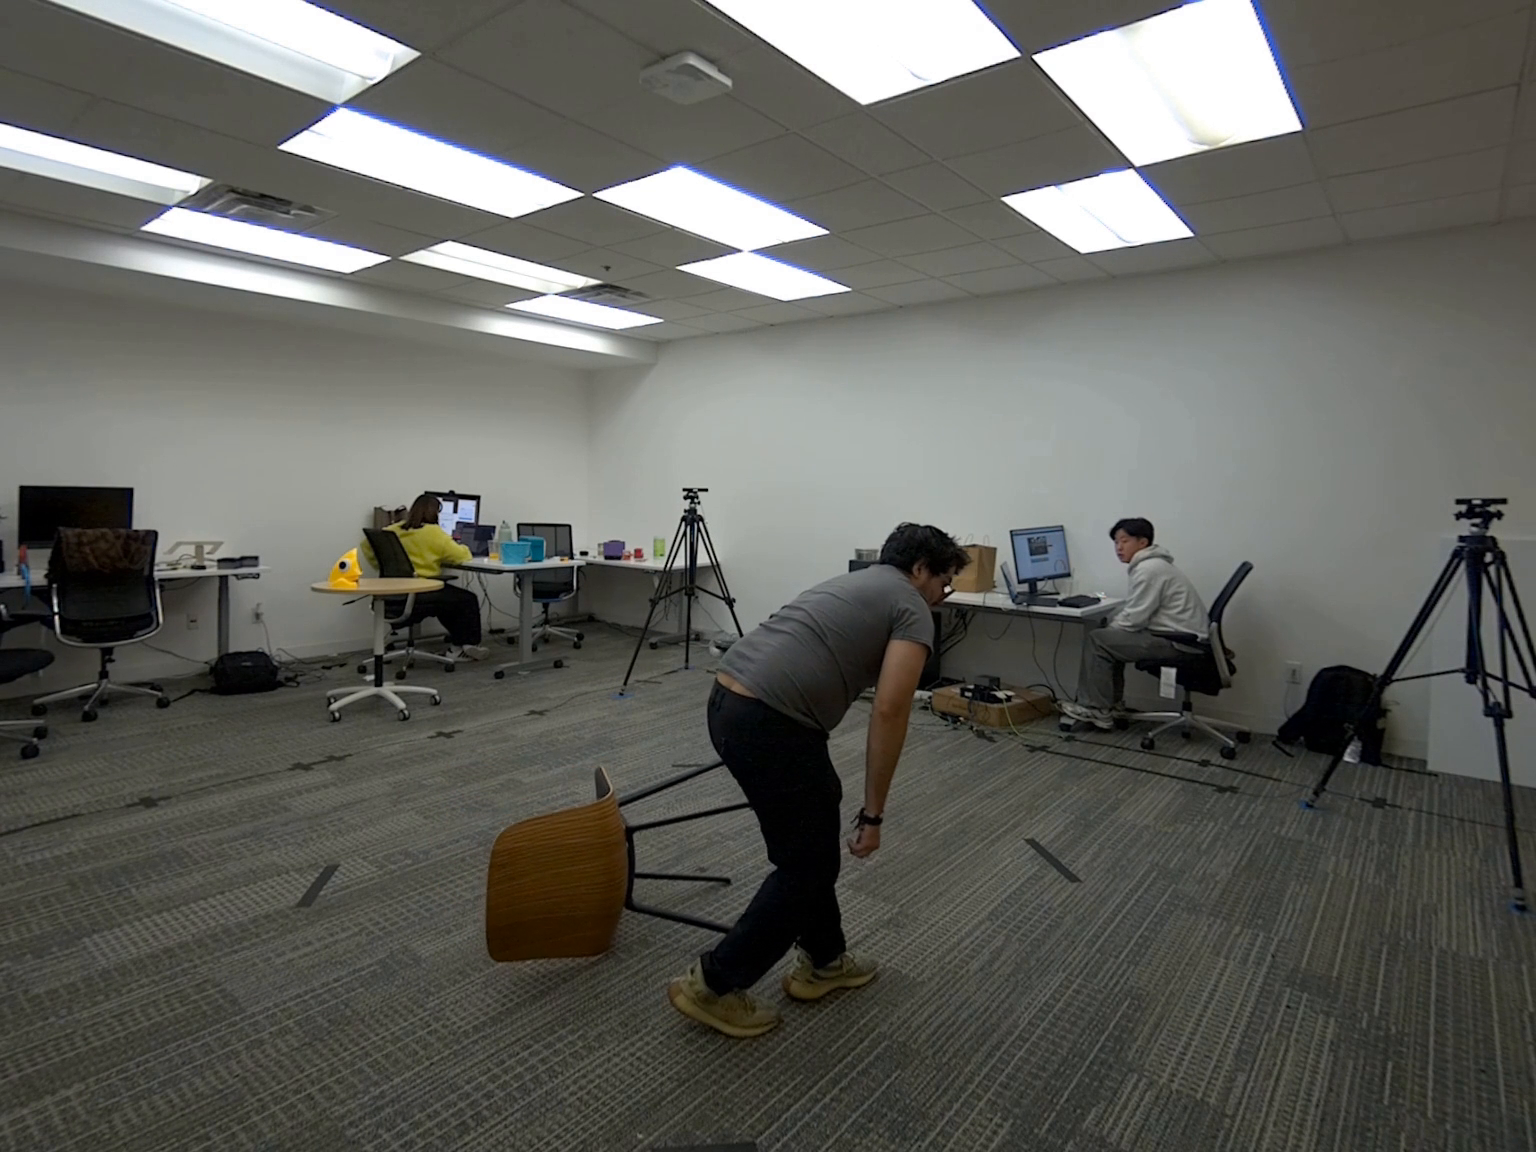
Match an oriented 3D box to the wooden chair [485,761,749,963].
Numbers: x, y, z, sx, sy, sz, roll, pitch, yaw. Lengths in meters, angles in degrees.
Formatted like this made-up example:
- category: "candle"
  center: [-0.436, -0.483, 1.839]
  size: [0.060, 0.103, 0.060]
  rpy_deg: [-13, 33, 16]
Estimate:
- category: "wooden chair"
  center: [-0.475, 0.878, 2.686]
  size: [0.860, 0.477, 0.535]
  rpy_deg: [-1, 4, -21]
